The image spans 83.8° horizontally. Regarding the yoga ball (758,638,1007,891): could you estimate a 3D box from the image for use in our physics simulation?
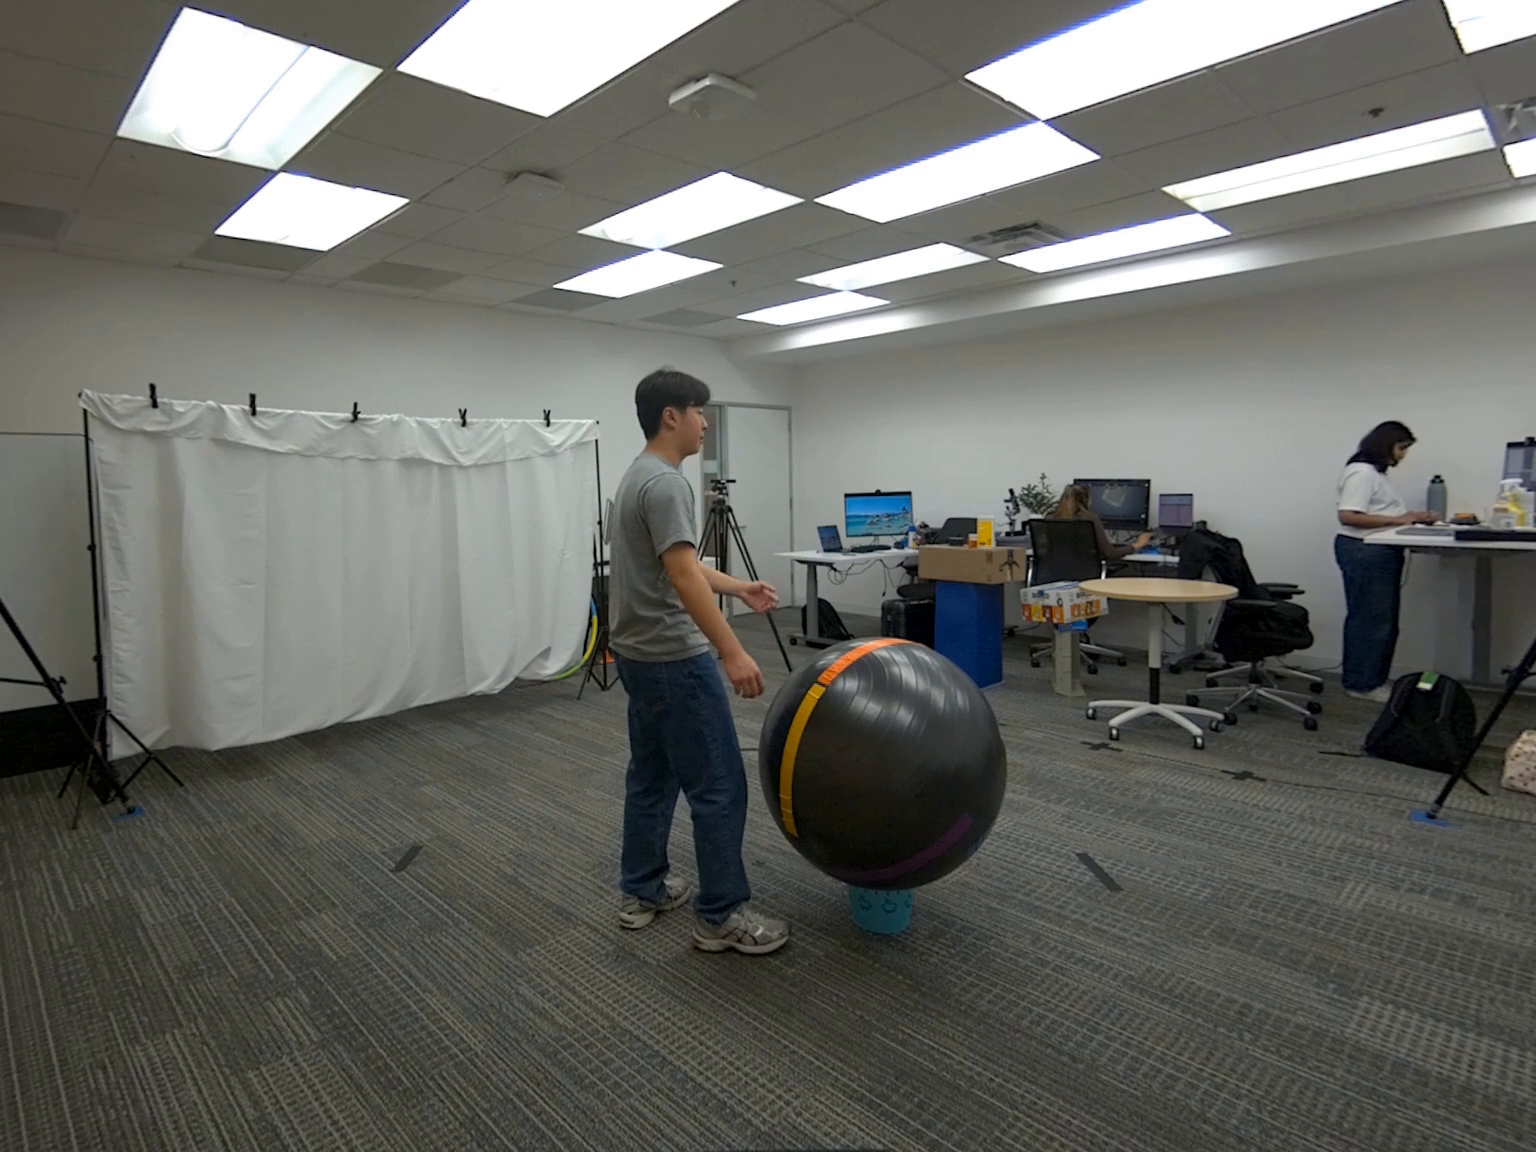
[{"bbox_3d":[0.361,0.585,2.659,0.757,0.755,0.762,-1,5,-2],"label":"yoga ball"}]
